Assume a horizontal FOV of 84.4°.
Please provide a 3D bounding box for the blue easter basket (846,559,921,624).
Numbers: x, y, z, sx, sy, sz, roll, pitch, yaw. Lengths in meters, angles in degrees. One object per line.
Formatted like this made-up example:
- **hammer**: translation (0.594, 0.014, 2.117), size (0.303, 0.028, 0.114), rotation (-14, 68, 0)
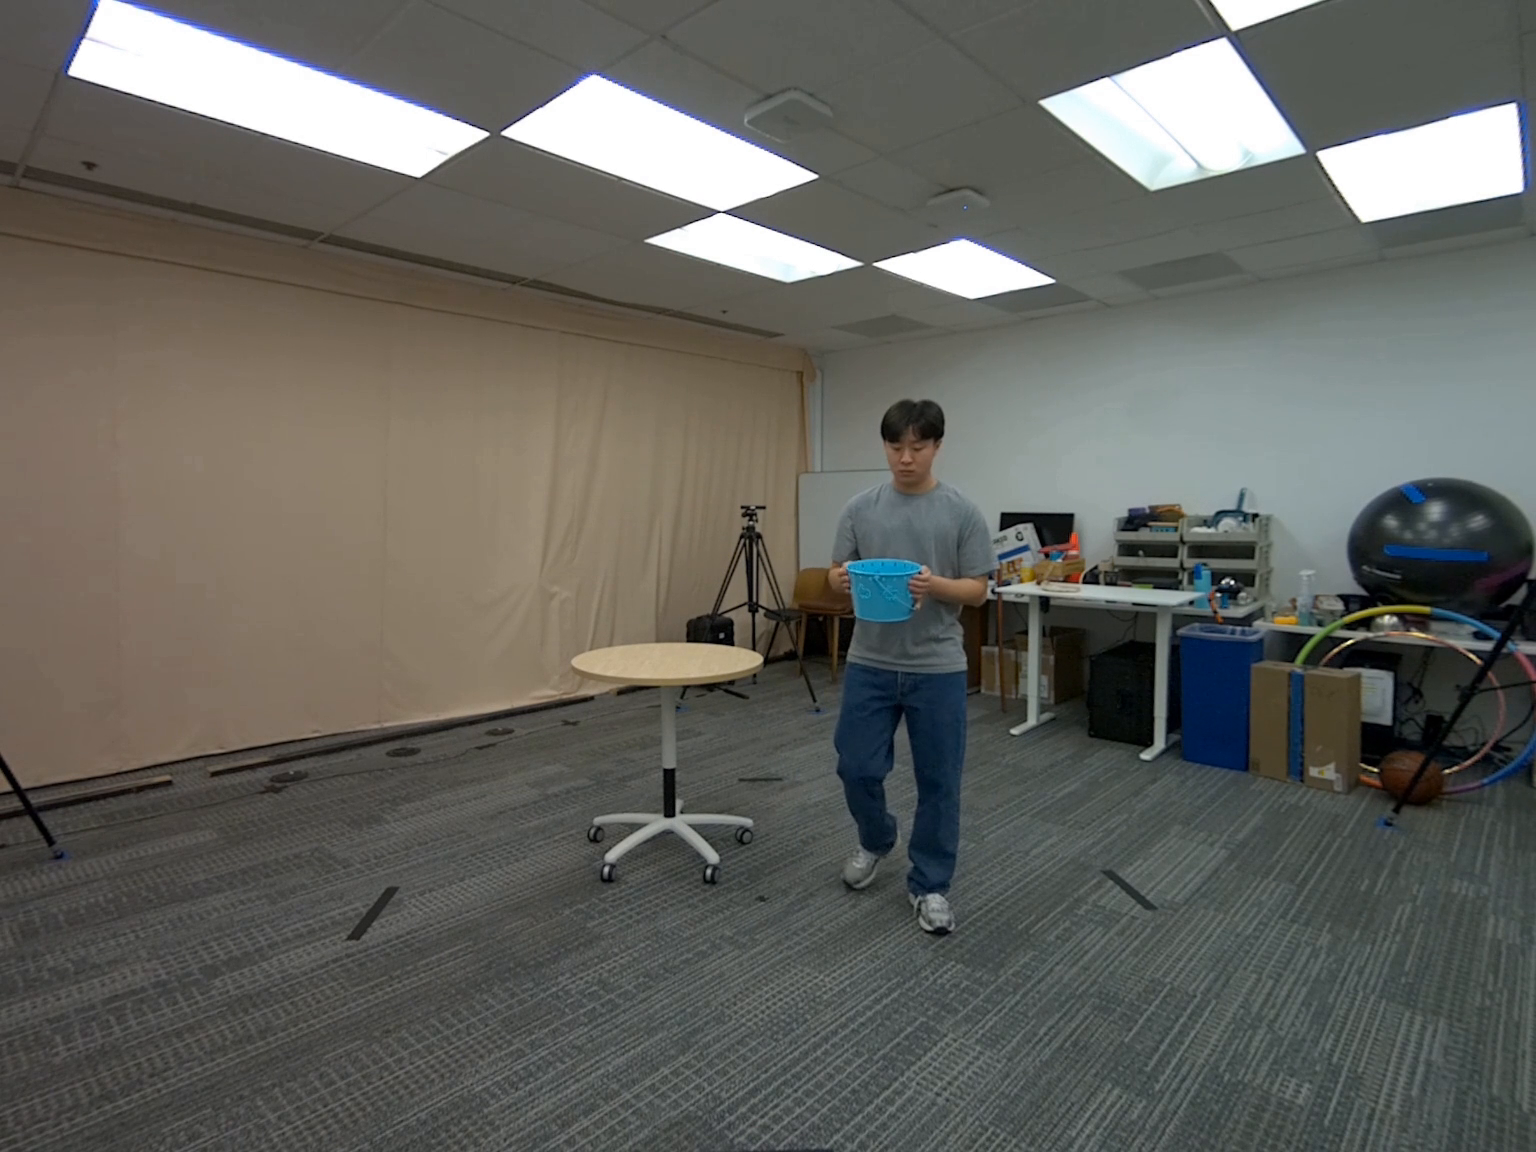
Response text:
- **blue easter basket**: translation (0.374, 0.049, 2.653), size (0.243, 0.155, 0.245), rotation (-1, 10, -2)
